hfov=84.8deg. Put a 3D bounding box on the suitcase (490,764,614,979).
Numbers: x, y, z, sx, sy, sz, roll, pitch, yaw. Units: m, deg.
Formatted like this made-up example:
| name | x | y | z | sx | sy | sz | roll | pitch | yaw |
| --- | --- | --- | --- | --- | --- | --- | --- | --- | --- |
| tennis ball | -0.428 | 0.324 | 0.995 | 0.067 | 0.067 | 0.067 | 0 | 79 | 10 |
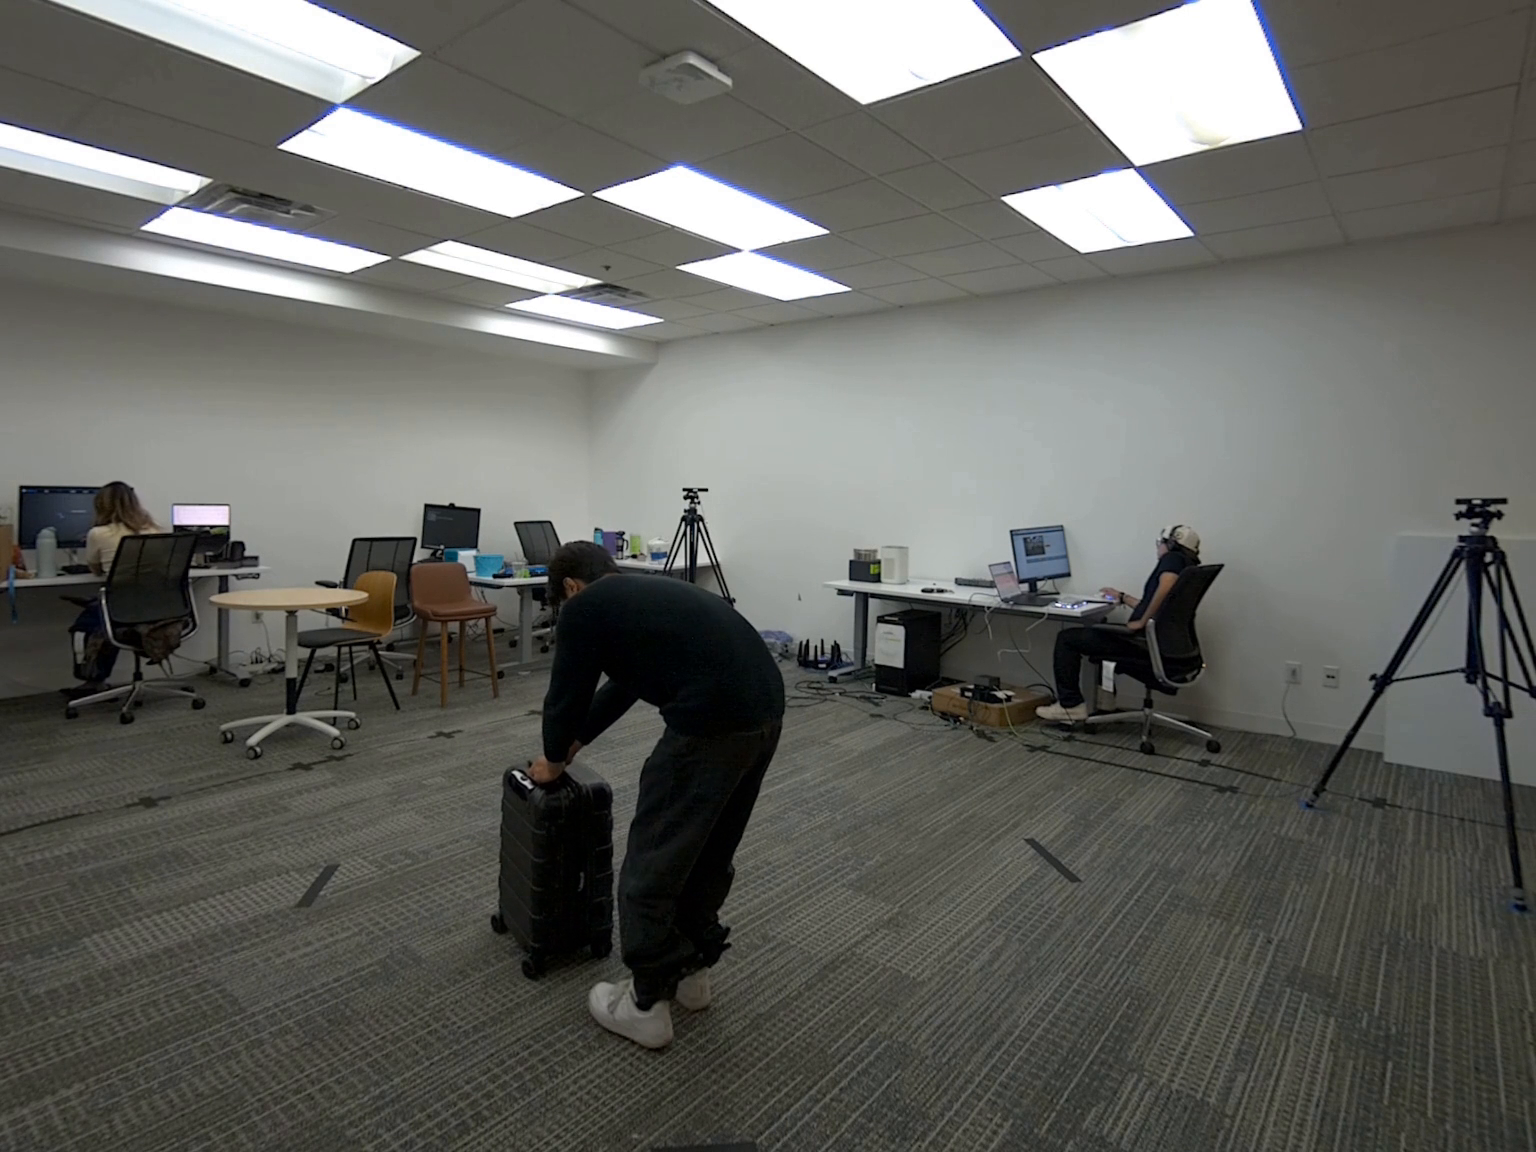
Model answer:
| name | x | y | z | sx | sy | sz | roll | pitch | yaw |
| --- | --- | --- | --- | --- | --- | --- | --- | --- | --- |
| suitcase | -0.657 | 0.843 | 2.566 | 0.241 | 0.547 | 0.388 | 0 | 5 | -34 |
